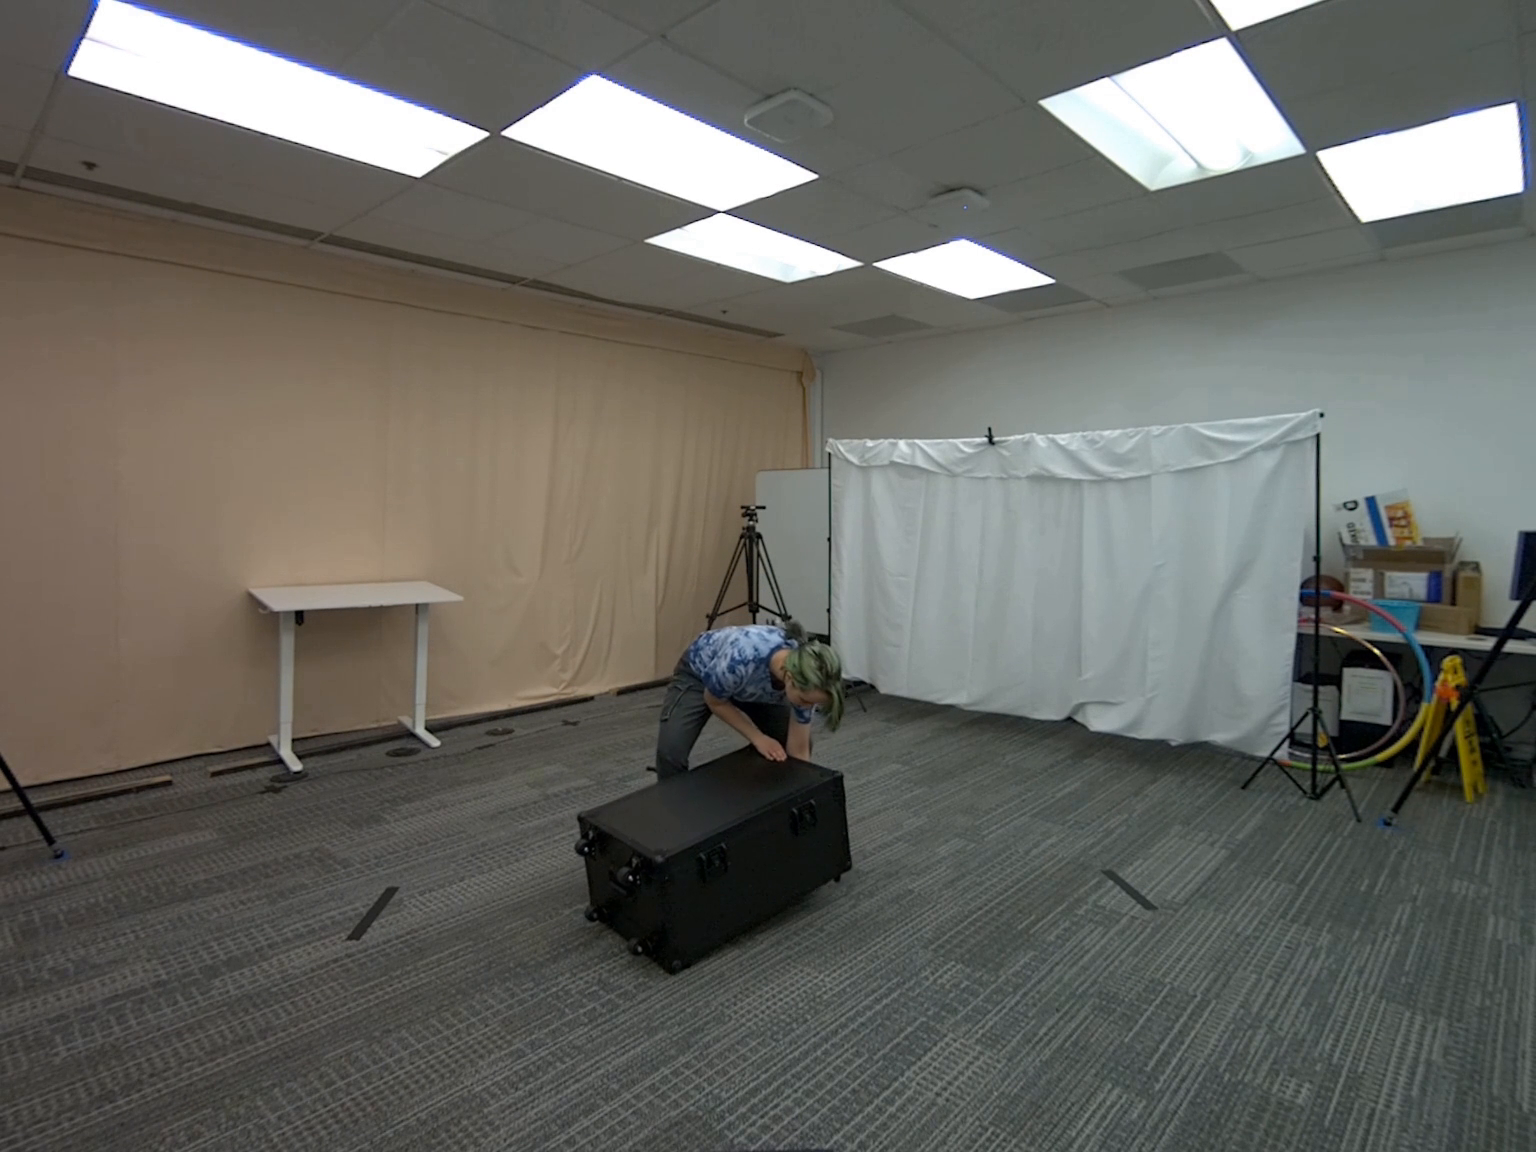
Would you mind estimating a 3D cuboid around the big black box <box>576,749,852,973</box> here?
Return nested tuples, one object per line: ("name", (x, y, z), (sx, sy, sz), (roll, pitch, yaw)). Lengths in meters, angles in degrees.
("big black box", (-0.193, 0.932, 2.860), (0.839, 0.394, 0.538), (-13, 11, -38))
